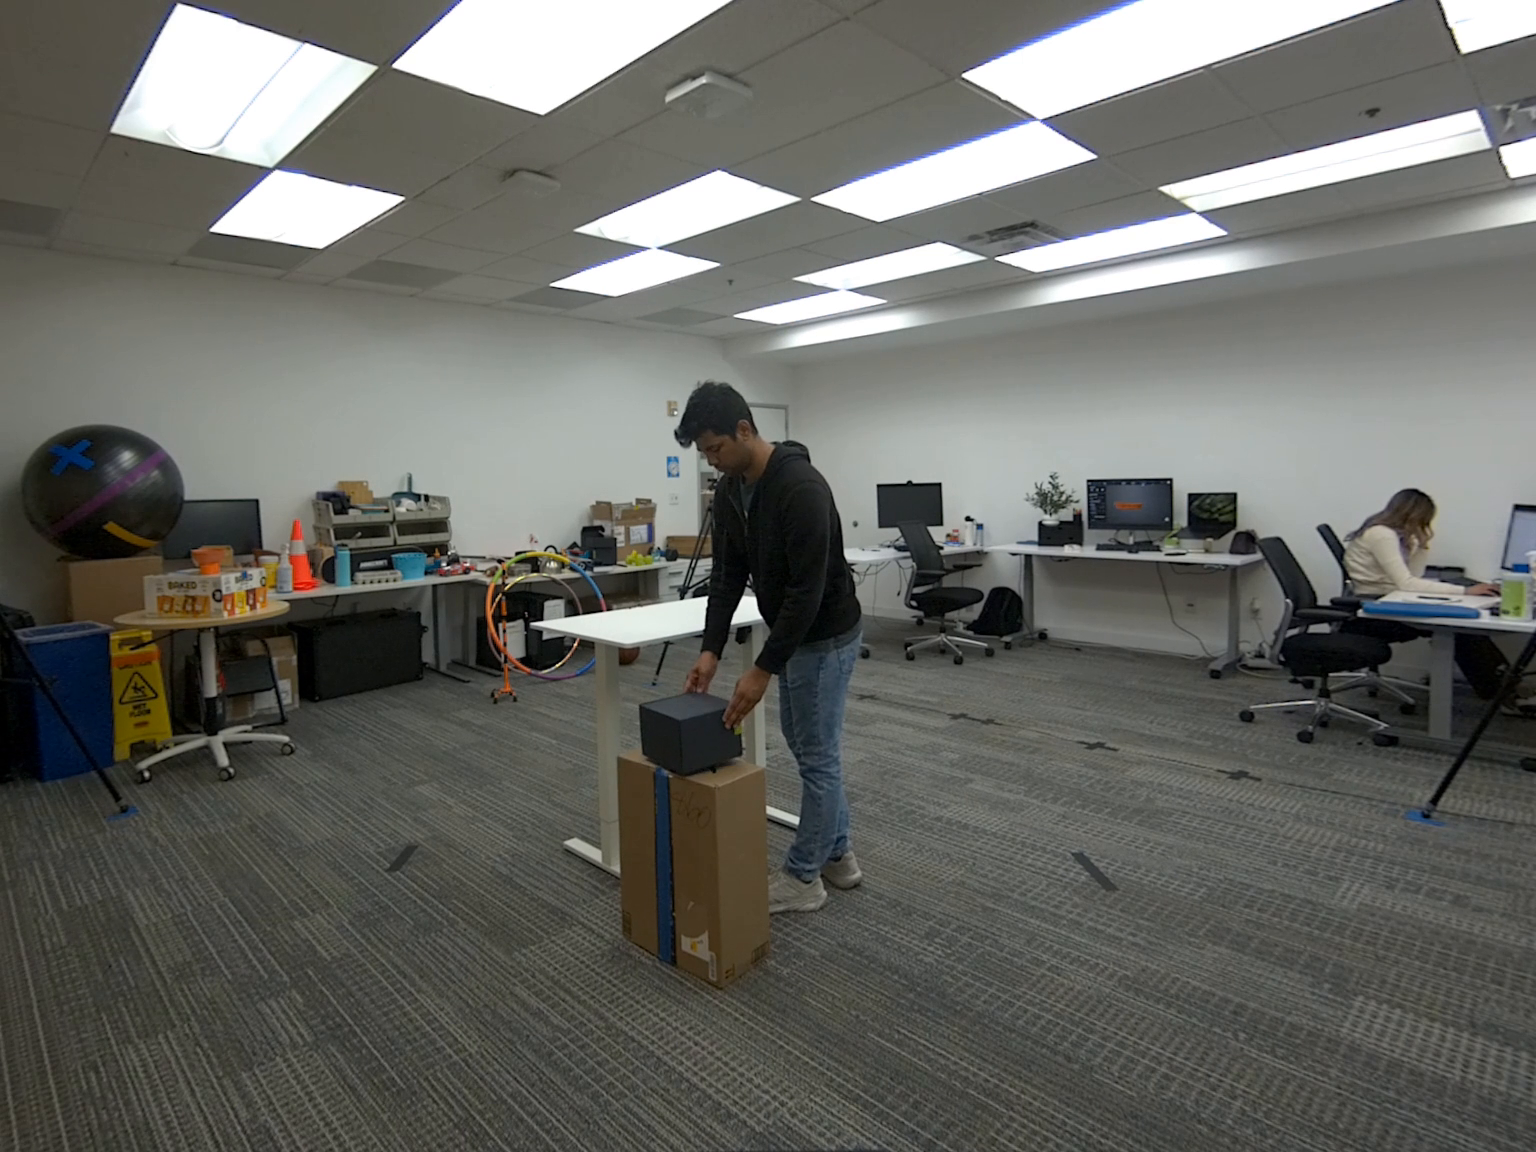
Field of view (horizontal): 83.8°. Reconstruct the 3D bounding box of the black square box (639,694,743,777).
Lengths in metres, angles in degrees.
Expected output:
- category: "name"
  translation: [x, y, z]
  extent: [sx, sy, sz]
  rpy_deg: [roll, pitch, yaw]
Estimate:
- category: "black square box"
  translation: [-0.233, 0.443, 2.521]
  extent: [0.211, 0.155, 0.235]
  rpy_deg: [-6, 7, -37]
